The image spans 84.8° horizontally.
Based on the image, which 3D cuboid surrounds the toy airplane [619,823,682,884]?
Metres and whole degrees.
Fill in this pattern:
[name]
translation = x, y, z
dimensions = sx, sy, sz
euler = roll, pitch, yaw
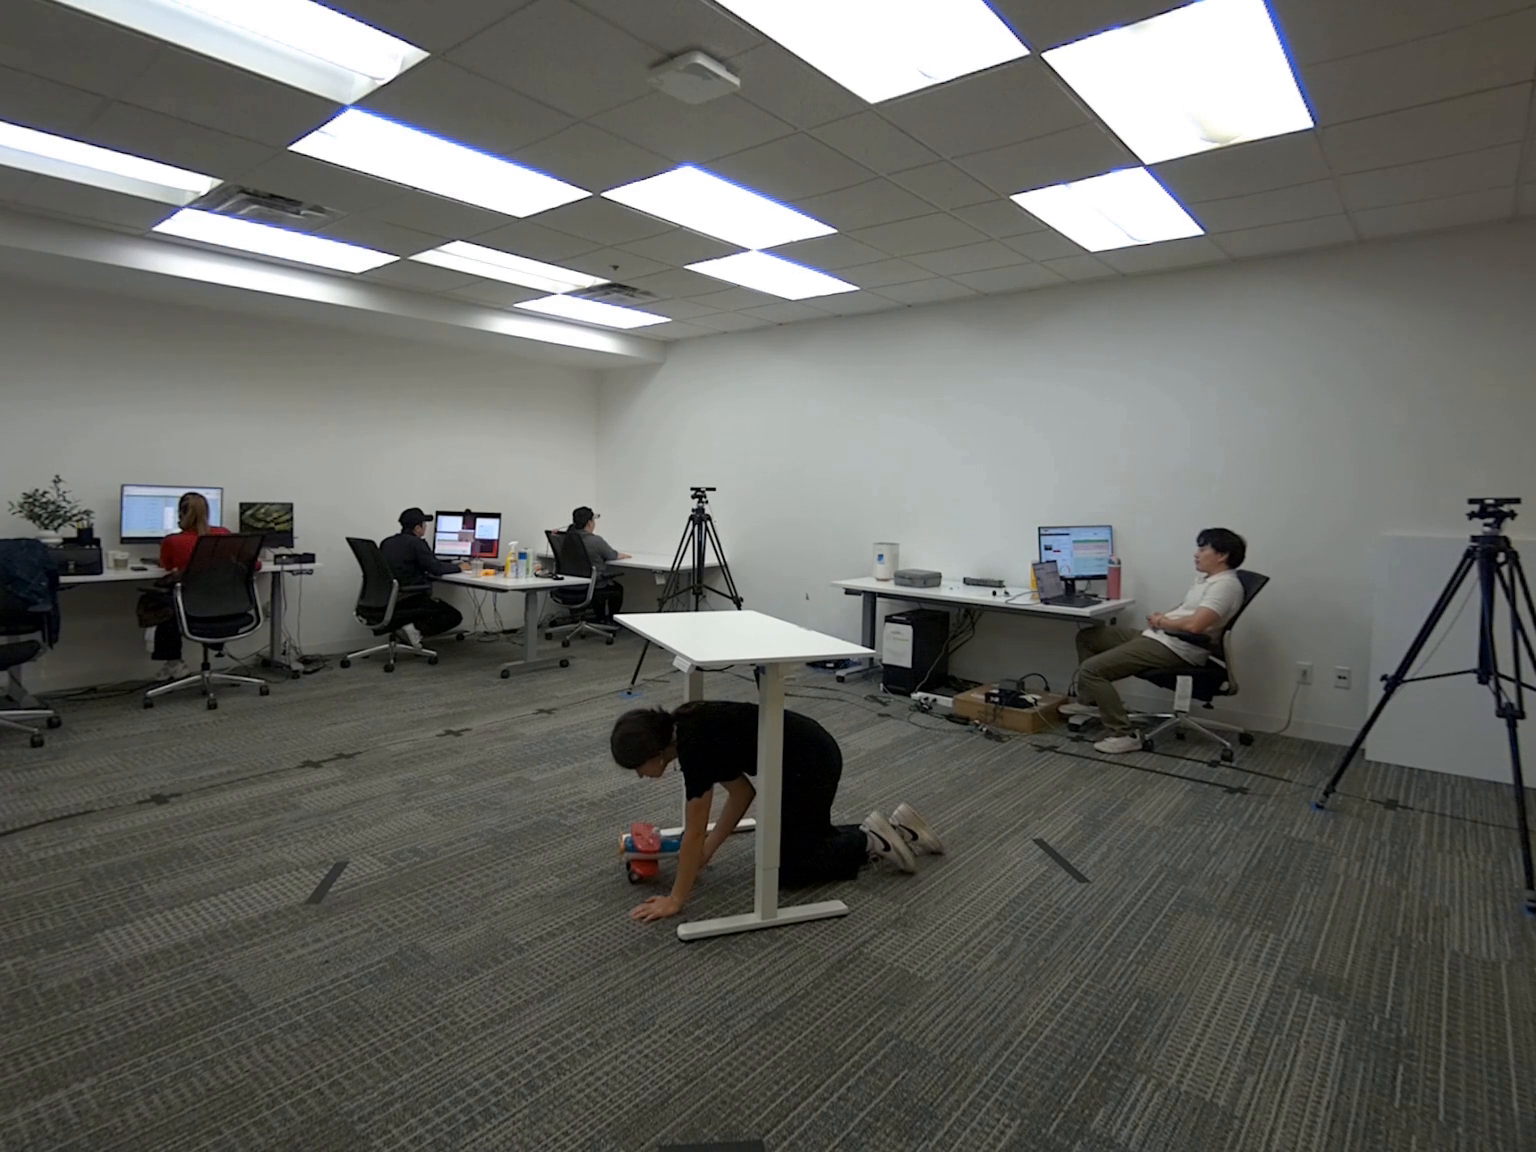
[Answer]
[toy airplane]
translation = -0.419, 0.983, 3.052
dimensions = 0.253, 0.155, 0.259
euler = -15, 10, -40
